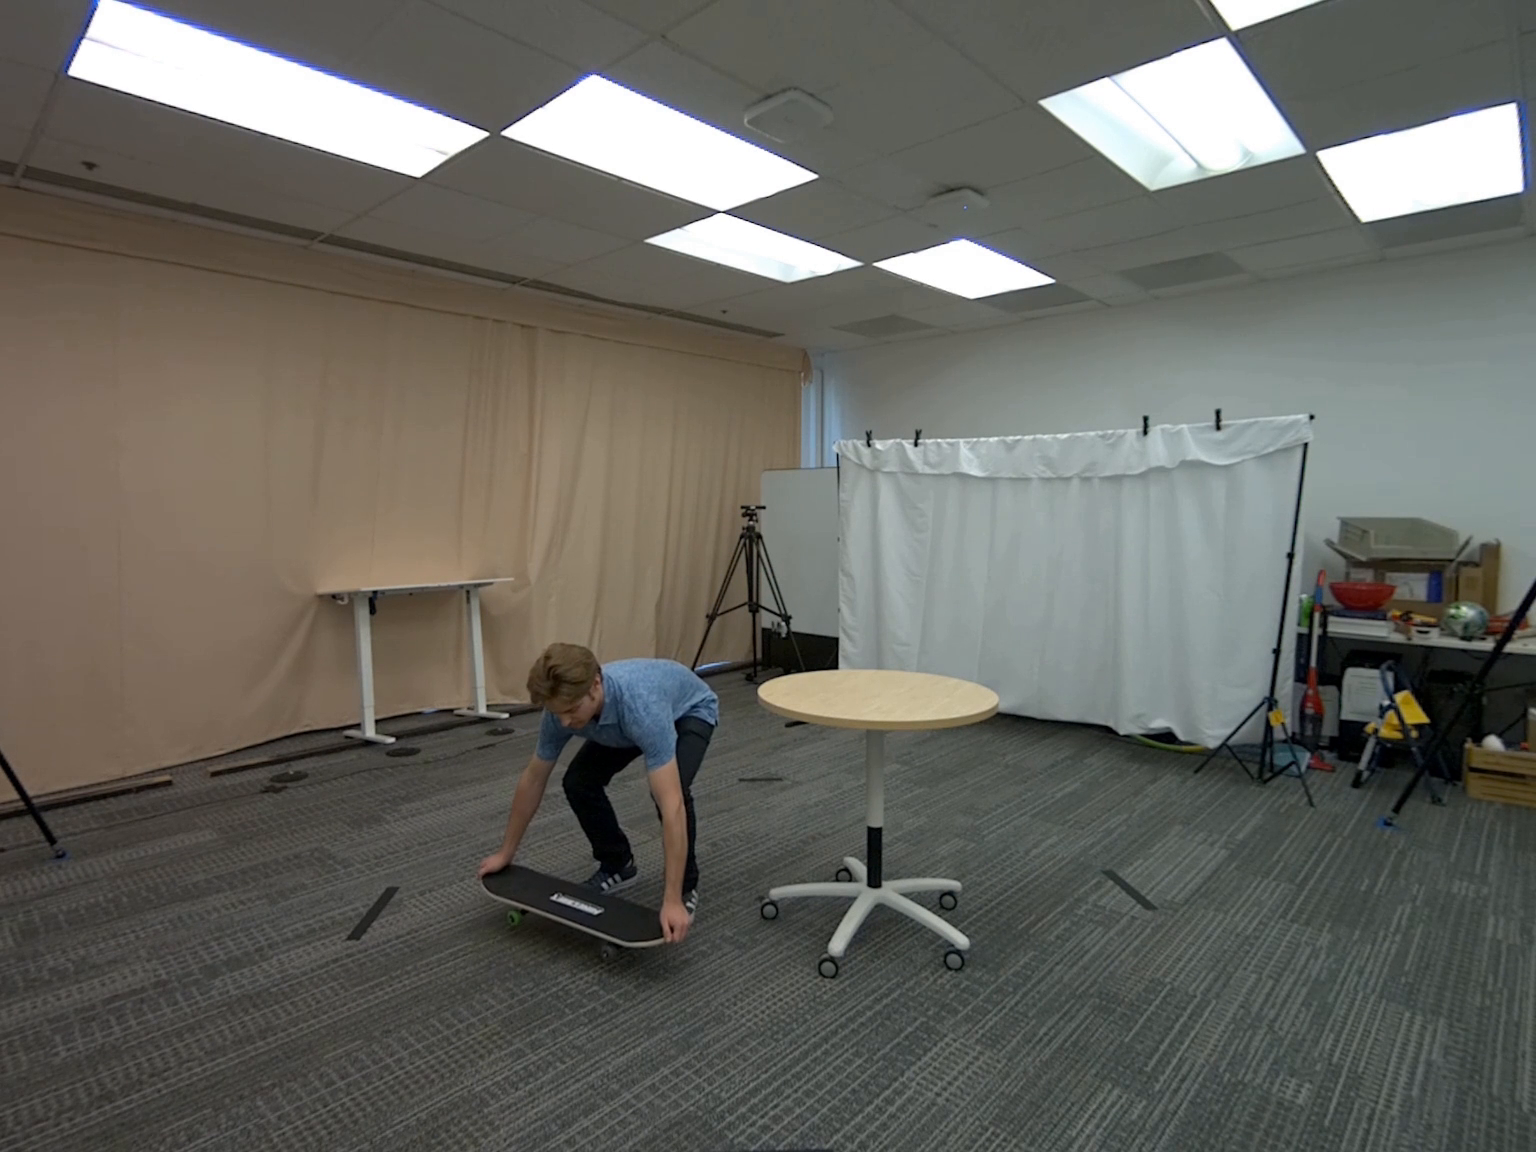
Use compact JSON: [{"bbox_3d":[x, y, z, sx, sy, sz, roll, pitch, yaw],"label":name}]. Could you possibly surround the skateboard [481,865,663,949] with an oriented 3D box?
[{"bbox_3d":[-0.601,1.072,2.658,0.808,0.110,0.188,2,7,31],"label":"skateboard"}]
